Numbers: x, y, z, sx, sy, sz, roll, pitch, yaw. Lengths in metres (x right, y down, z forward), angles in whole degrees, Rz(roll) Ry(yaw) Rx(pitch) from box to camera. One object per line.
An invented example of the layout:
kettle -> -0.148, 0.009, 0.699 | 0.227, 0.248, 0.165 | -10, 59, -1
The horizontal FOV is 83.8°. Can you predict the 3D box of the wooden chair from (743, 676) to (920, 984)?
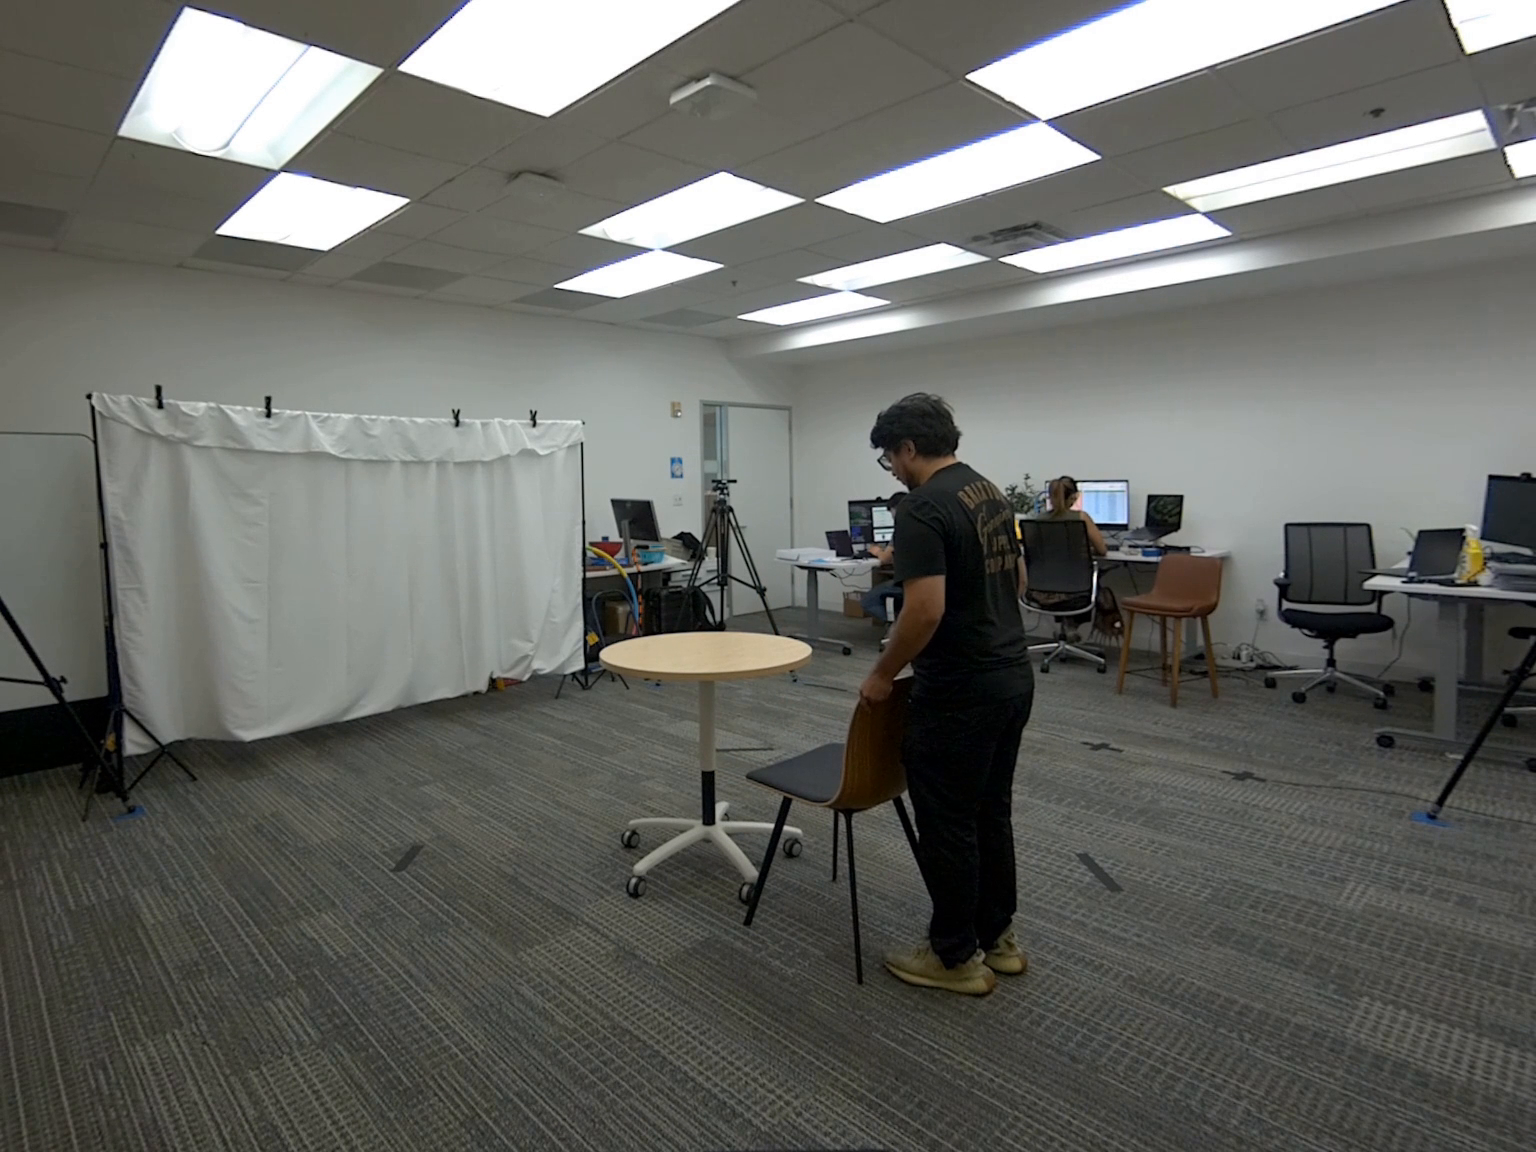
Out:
wooden chair -> 0.231, 0.670, 2.642 | 0.541, 0.871, 0.465 | 10, 11, 44
